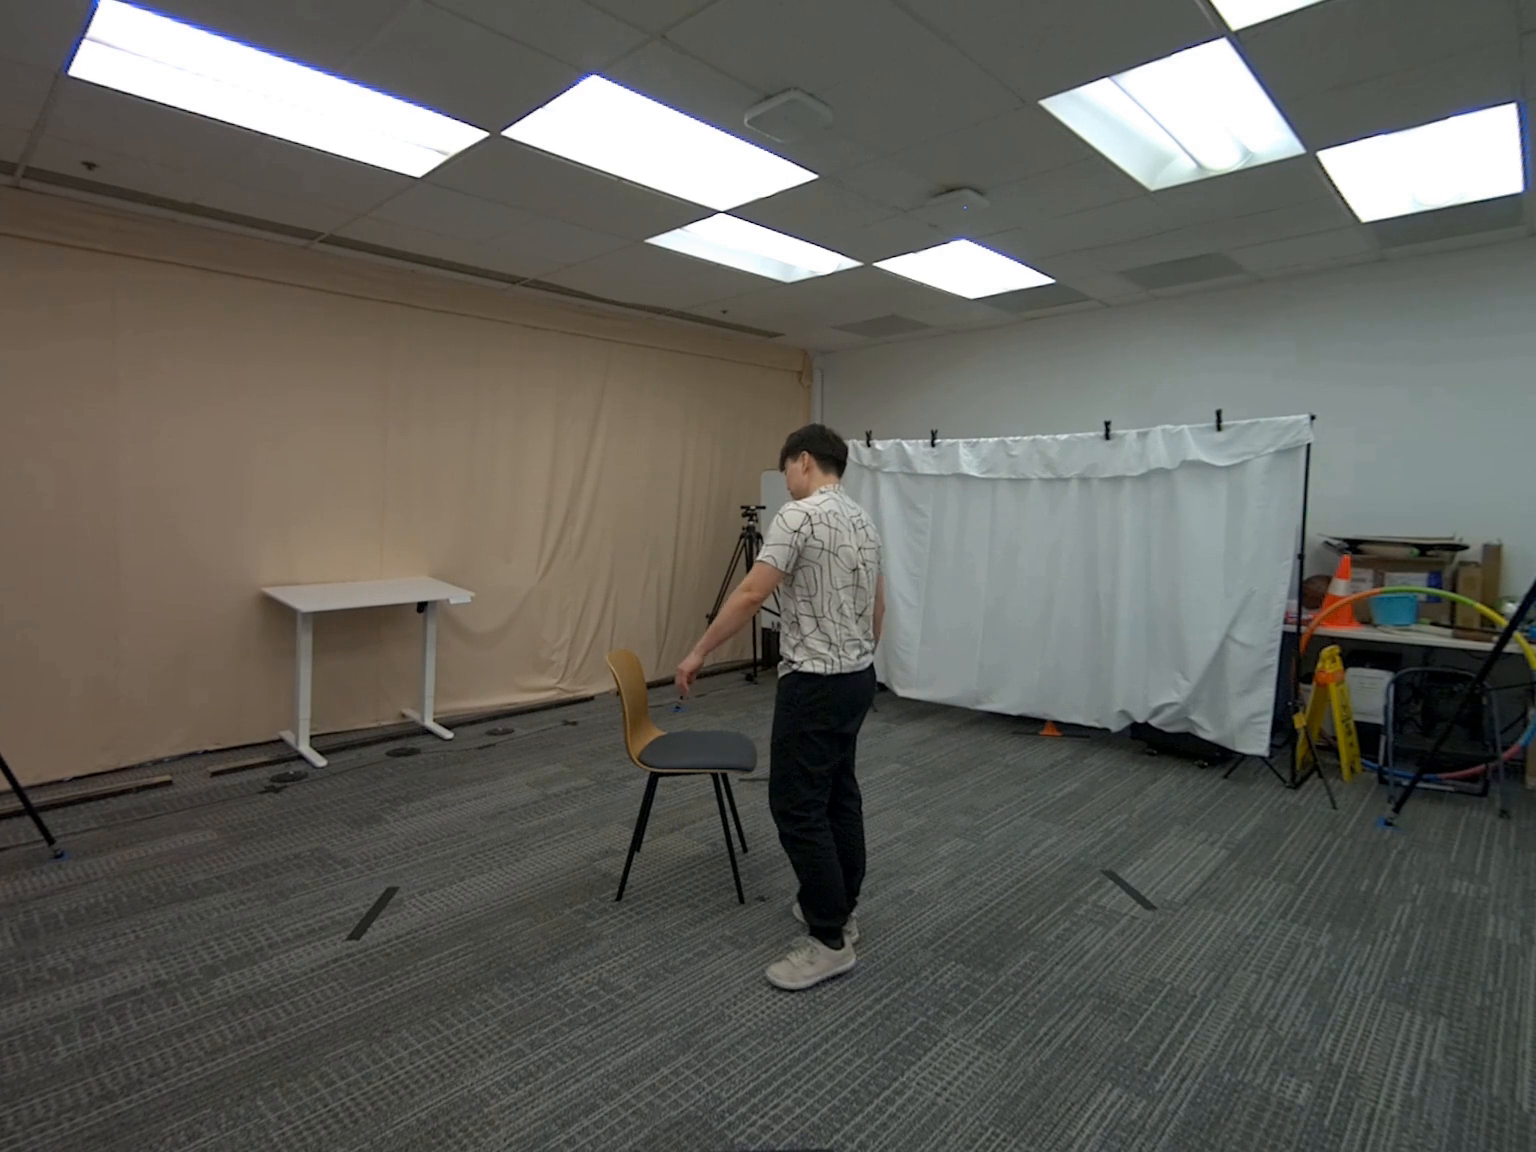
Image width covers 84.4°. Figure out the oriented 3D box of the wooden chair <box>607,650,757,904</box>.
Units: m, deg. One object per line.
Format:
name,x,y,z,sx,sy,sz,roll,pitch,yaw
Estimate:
wooden chair,-0.302,0.702,3.150,0.525,0.876,0.477,-5,2,3
